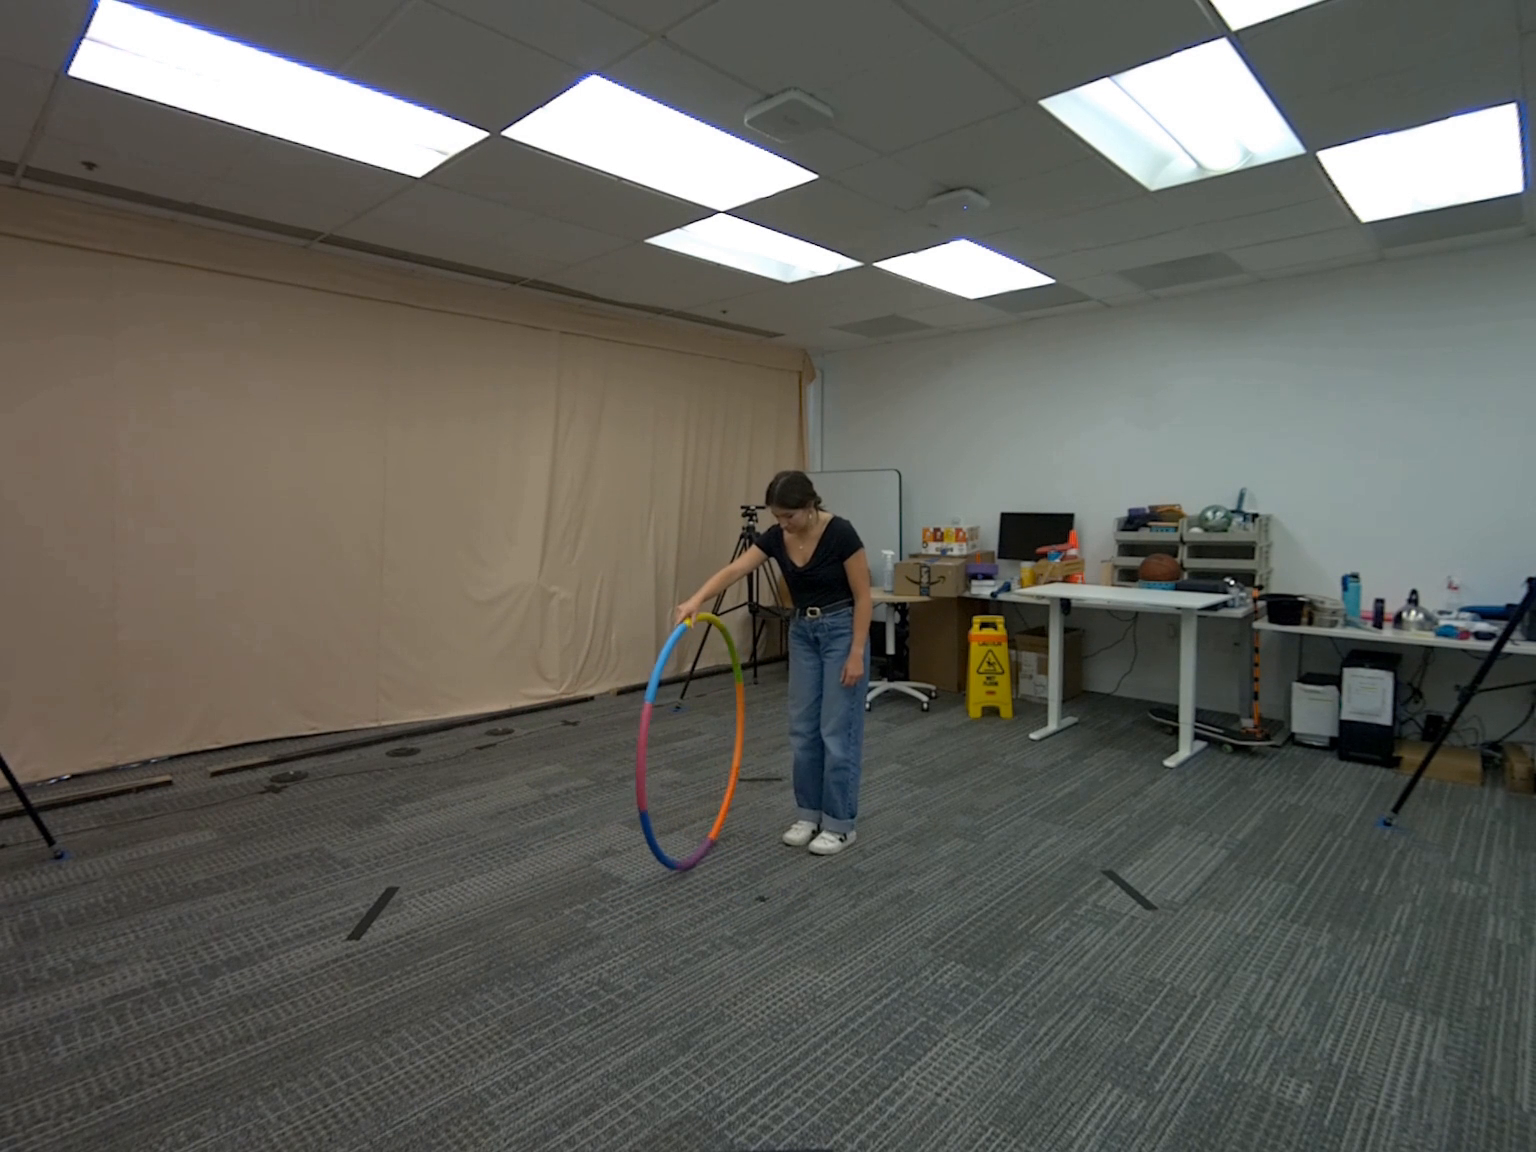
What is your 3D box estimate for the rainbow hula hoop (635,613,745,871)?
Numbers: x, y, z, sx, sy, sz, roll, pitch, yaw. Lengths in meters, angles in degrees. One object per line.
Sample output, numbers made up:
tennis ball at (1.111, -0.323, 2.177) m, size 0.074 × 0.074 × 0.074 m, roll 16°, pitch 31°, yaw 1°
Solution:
rainbow hula hoop at (-0.277, 0.641, 3.286) m, size 0.036 × 0.976 × 0.961 m, roll 2°, pitch 4°, yaw 18°
